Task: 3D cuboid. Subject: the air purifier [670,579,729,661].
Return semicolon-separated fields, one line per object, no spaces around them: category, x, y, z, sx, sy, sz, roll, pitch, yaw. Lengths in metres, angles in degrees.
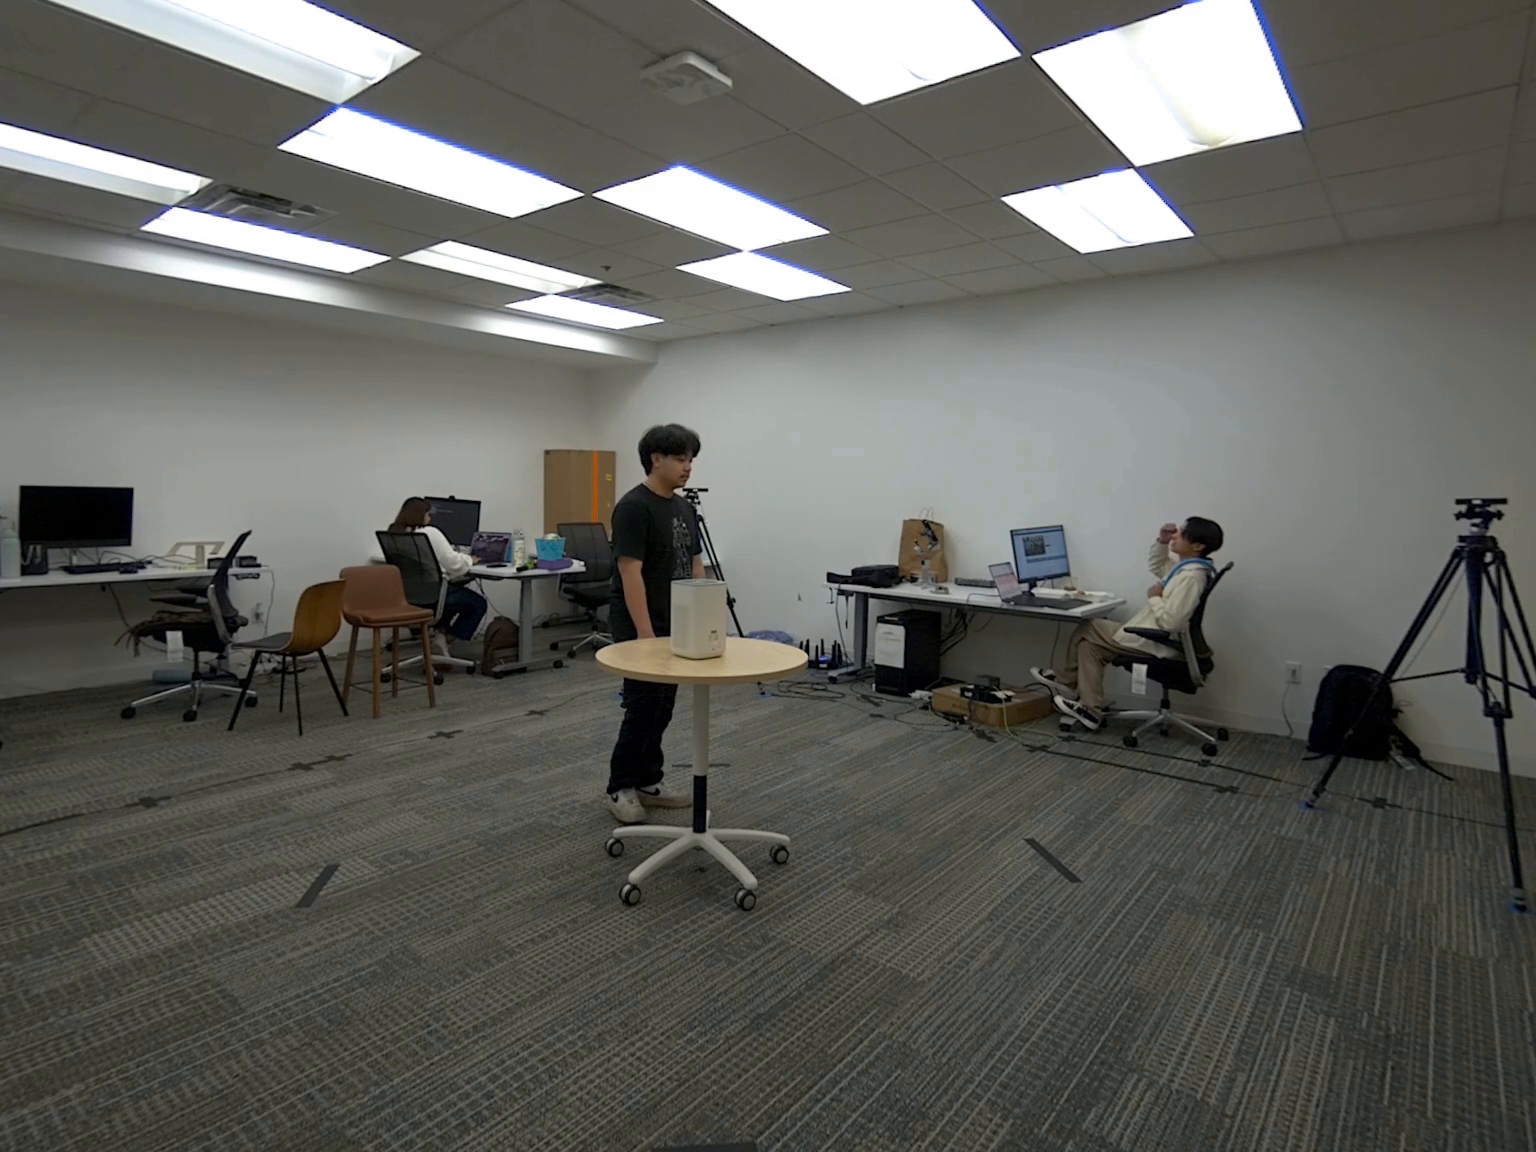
air purifier;-0.259;0.150;3.036;0.166;0.265;0.177;-2;4;-43
